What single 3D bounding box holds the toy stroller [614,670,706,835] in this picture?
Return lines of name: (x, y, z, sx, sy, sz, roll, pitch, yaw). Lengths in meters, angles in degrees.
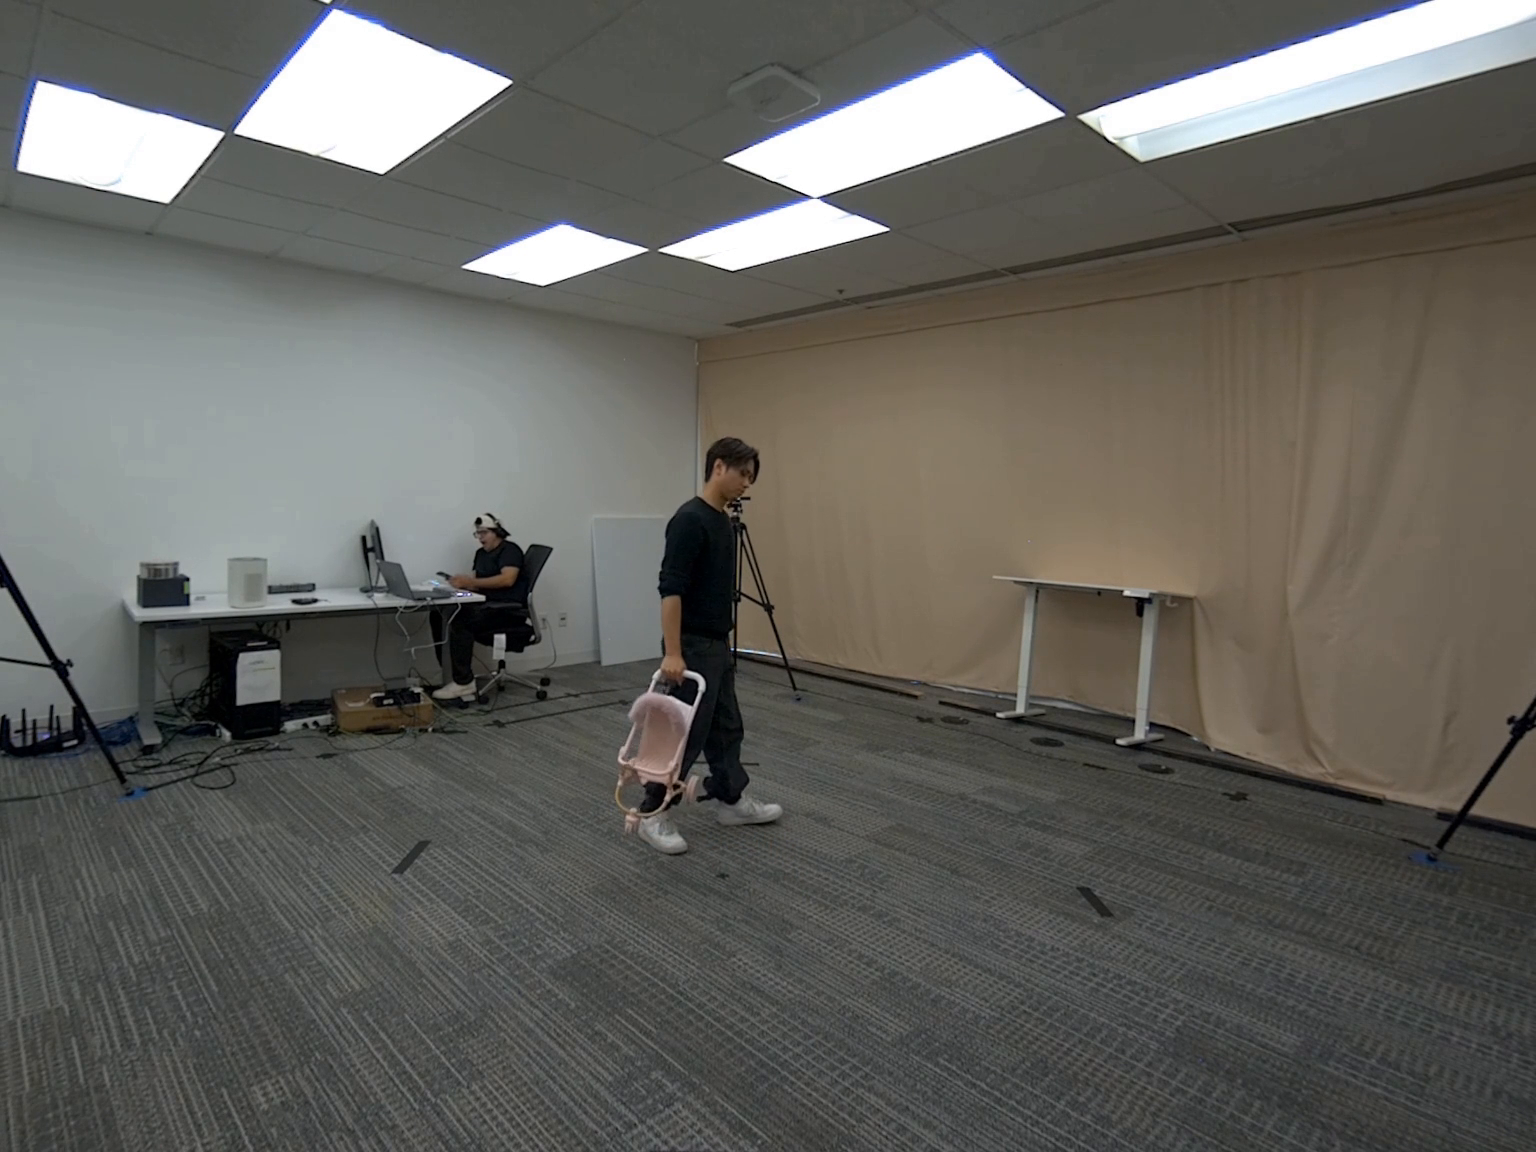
toy stroller: (-0.414, 0.639, 3.037, 0.287, 0.531, 0.337, 14, 11, 19)
